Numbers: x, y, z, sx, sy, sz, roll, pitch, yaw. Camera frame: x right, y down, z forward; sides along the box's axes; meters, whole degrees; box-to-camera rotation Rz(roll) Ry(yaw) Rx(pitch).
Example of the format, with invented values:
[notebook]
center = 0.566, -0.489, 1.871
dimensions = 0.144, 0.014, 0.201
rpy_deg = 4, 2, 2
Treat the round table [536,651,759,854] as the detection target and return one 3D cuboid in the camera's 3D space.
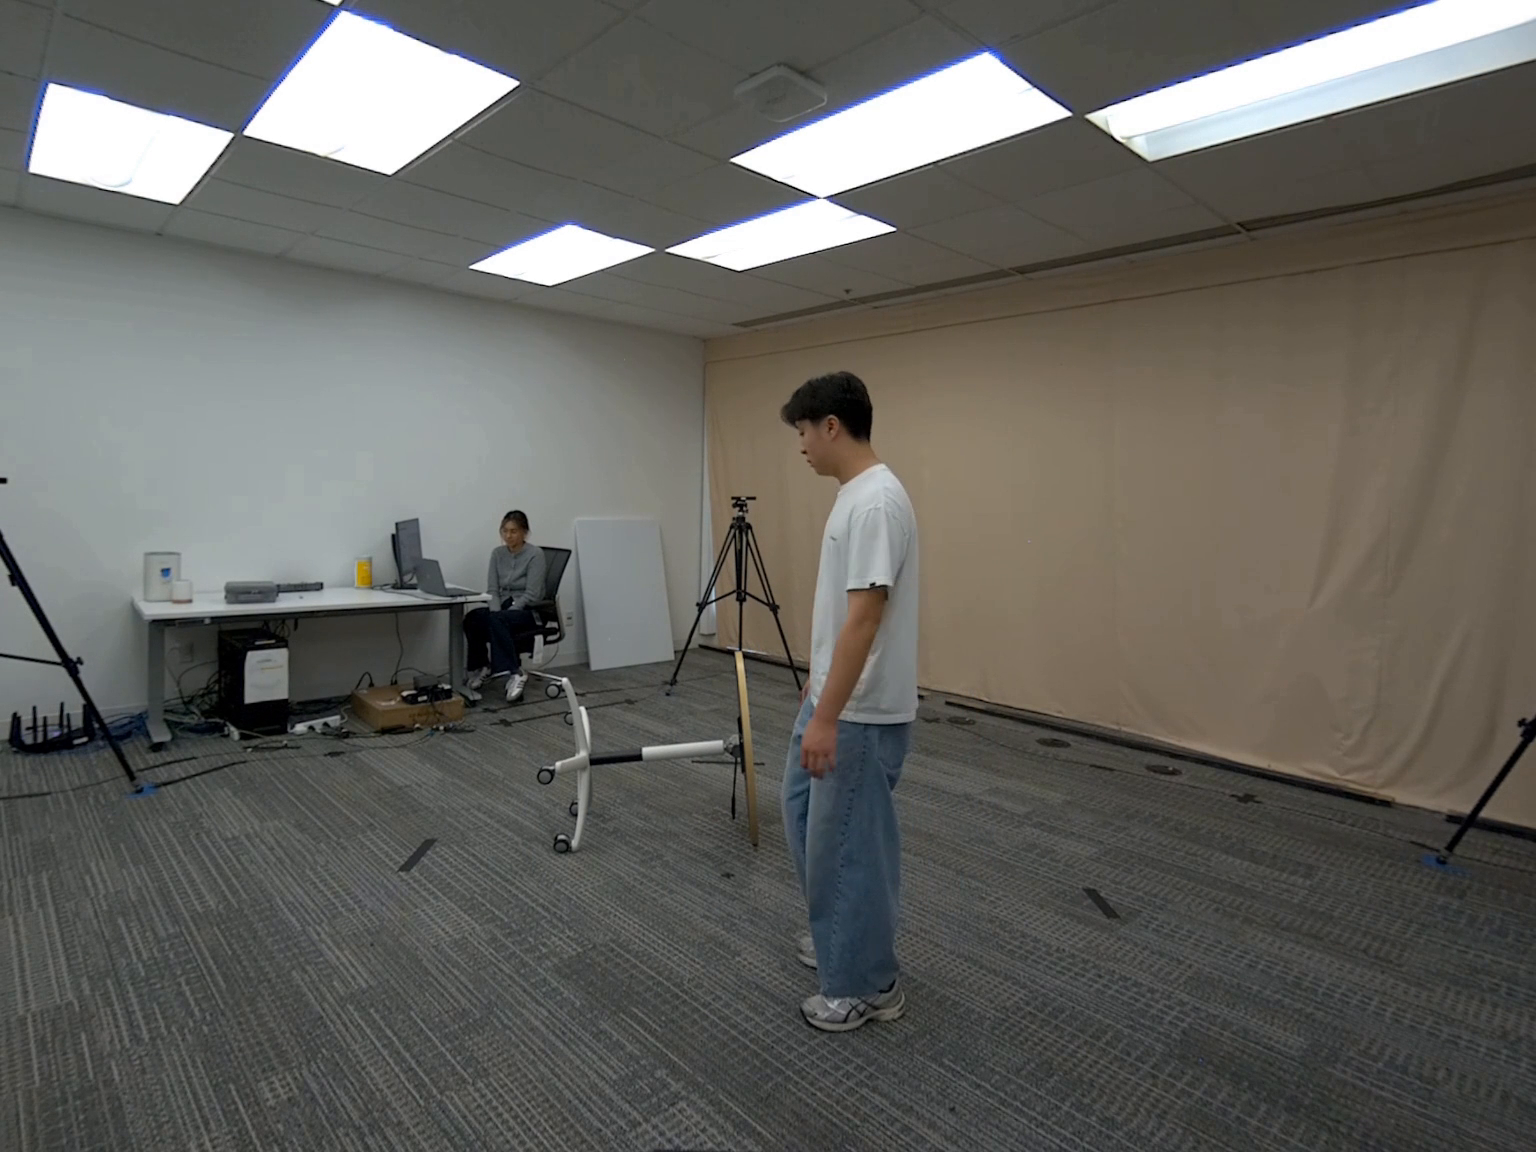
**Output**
[round table]
center = -0.478, 0.722, 3.439
dimensions = 0.785, 0.782, 0.789
rpy_deg = -4, 5, -3
